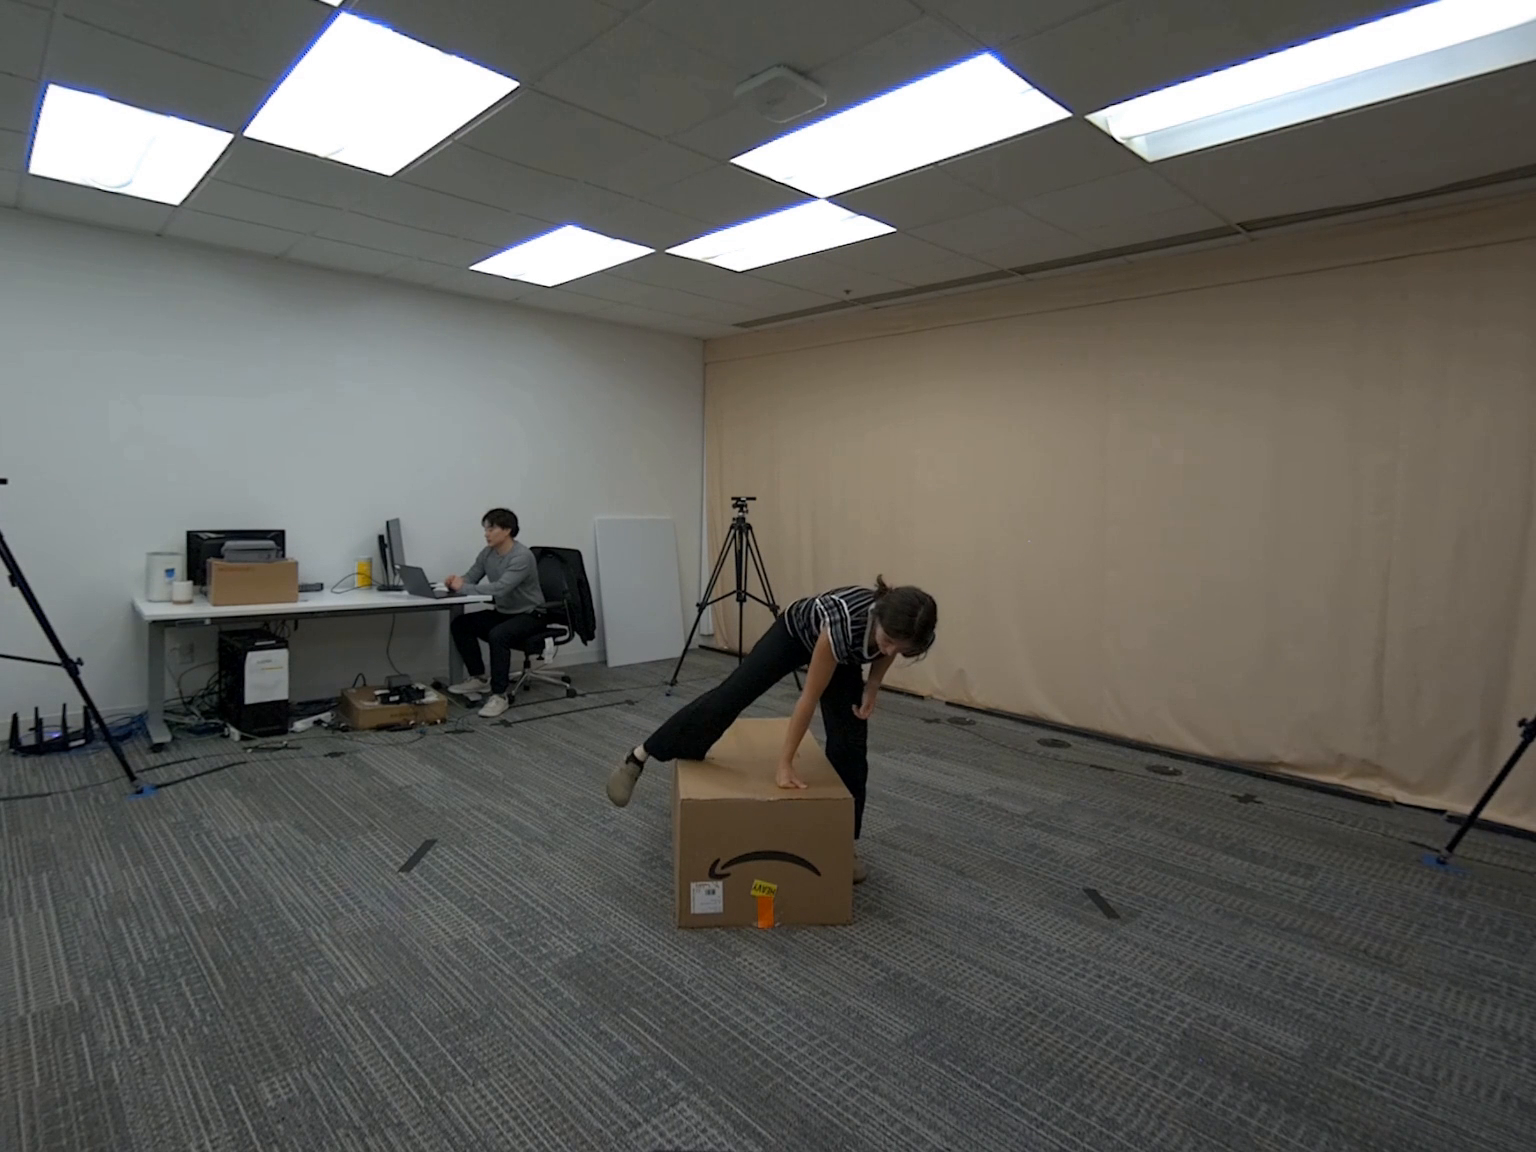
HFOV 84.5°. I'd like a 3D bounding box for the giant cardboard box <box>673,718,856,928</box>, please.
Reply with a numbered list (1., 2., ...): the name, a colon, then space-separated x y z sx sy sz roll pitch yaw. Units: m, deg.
1. giant cardboard box: -0.076 0.890 3.233 0.575 0.425 1.033 1 5 -6
